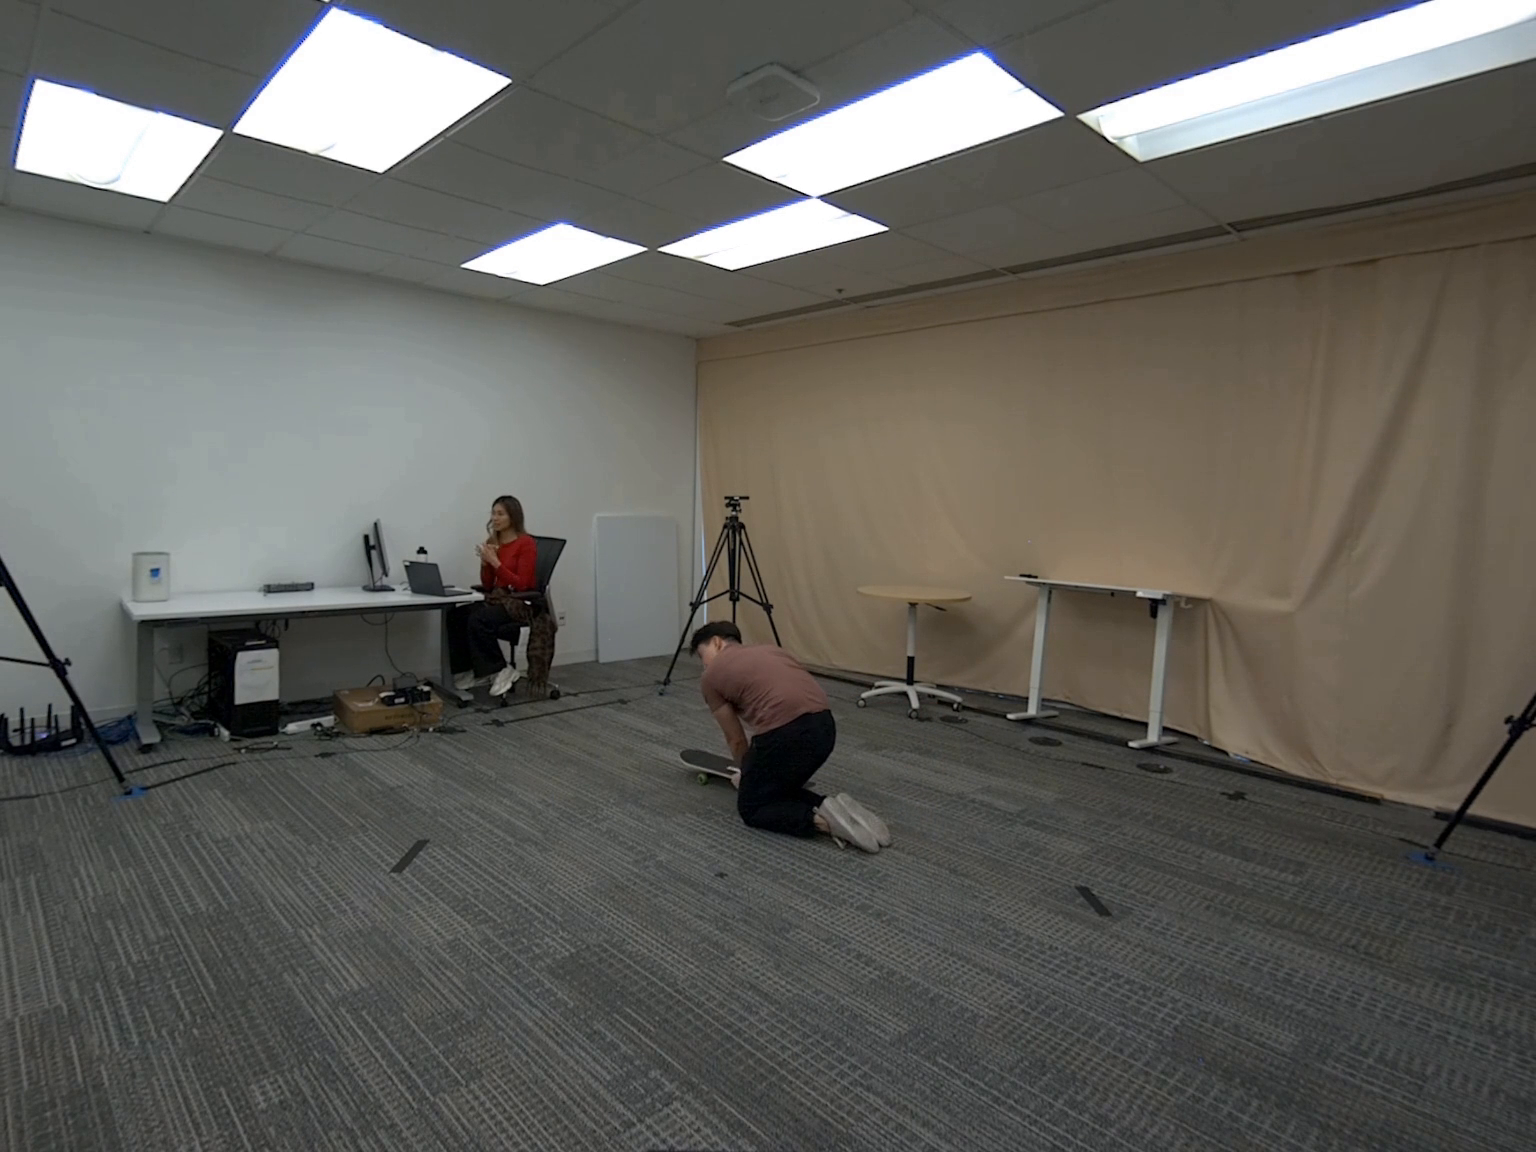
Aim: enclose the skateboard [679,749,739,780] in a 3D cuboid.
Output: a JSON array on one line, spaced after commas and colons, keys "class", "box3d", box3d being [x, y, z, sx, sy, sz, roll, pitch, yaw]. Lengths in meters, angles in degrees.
[{"class": "skateboard", "box3d": [-0.131, 0.971, 4.033, 0.805, 0.110, 0.189, 7, 7, 37]}]
